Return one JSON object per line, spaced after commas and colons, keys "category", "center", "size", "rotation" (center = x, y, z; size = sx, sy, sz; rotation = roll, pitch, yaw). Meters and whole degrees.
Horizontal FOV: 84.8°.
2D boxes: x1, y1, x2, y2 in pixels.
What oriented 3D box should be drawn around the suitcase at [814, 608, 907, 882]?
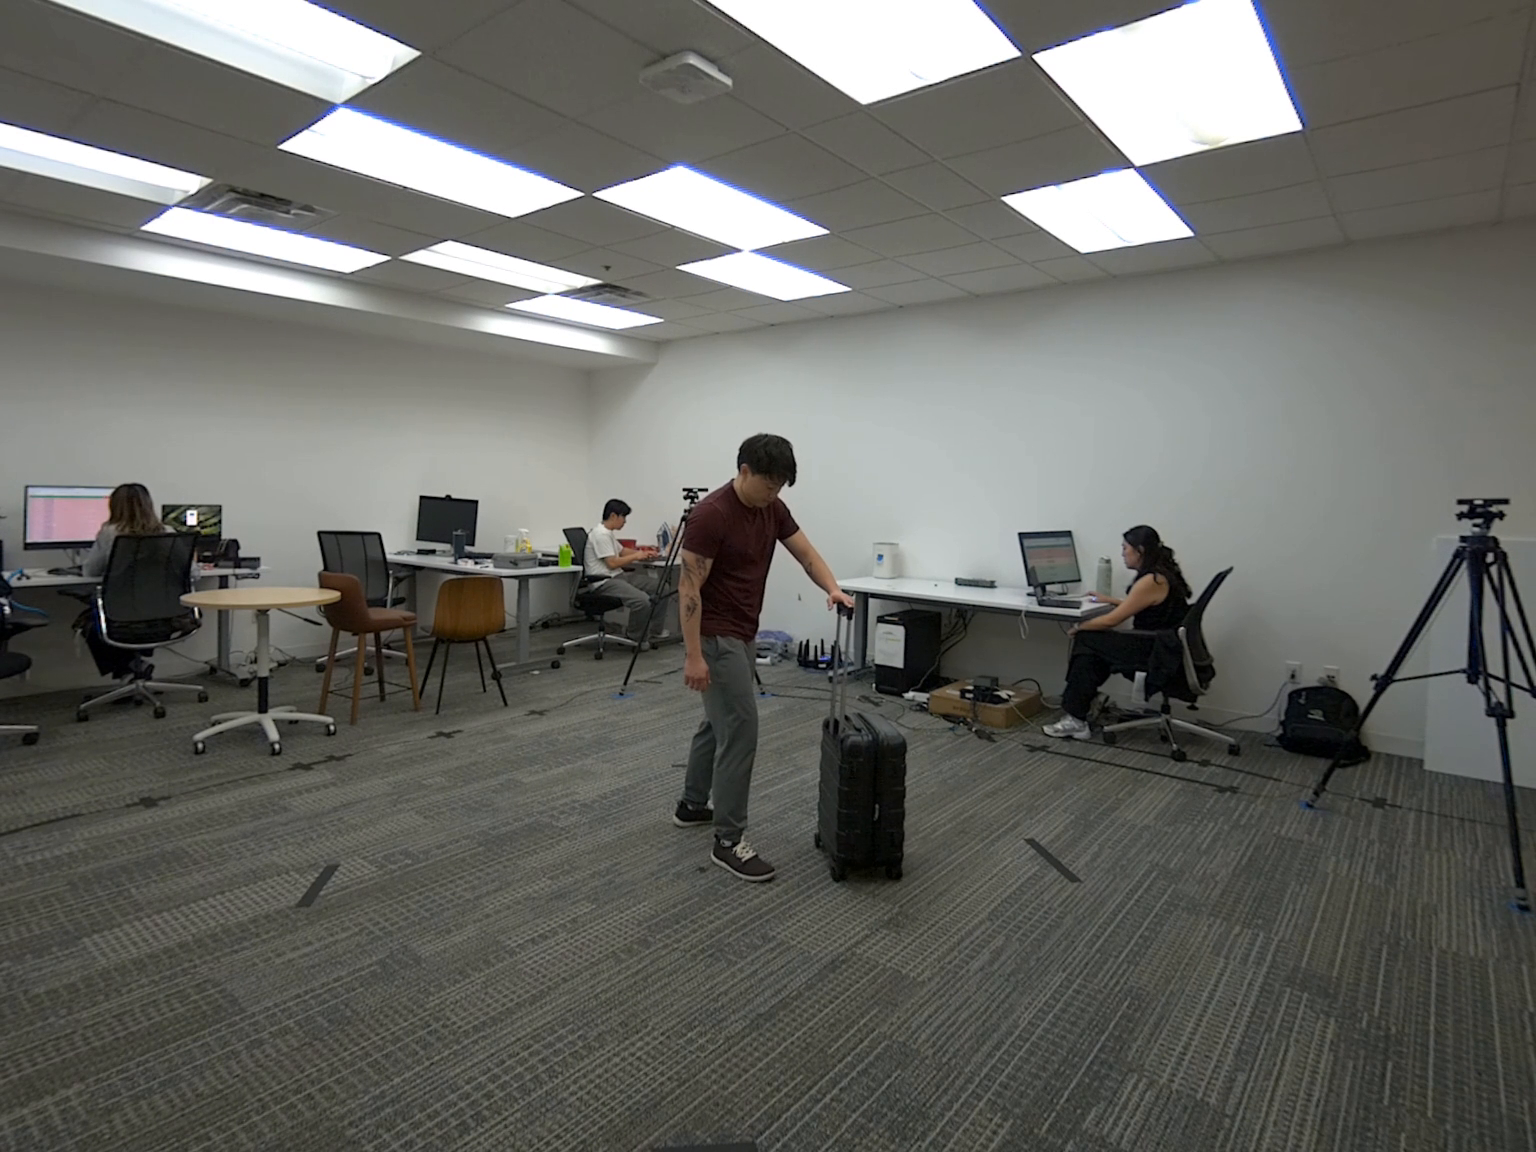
{"category": "suitcase", "center": [0.353, 0.599, 3.161], "size": [0.255, 0.975, 0.388], "rotation": [4, 4, -8]}
